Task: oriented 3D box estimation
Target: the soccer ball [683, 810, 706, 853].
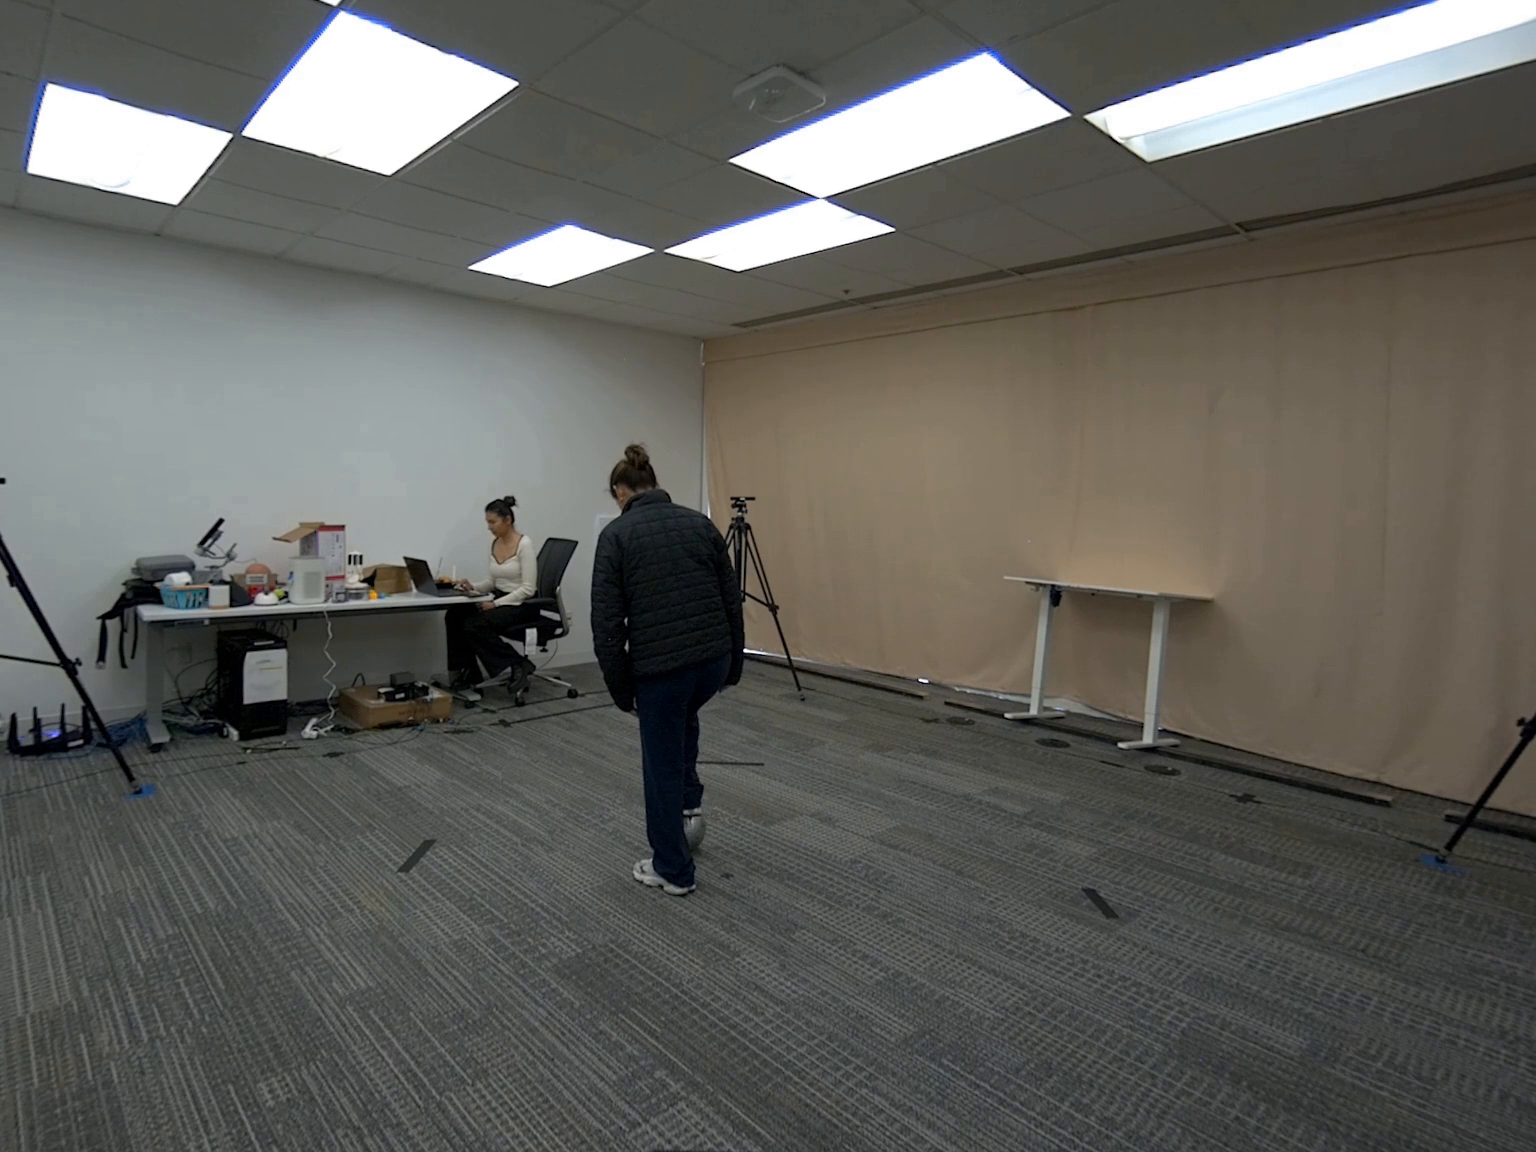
[{"bbox_3d":[-0.338,0.990,3.322,0.187,0.187,0.188,1,4,-1],"label":"soccer ball"}]
